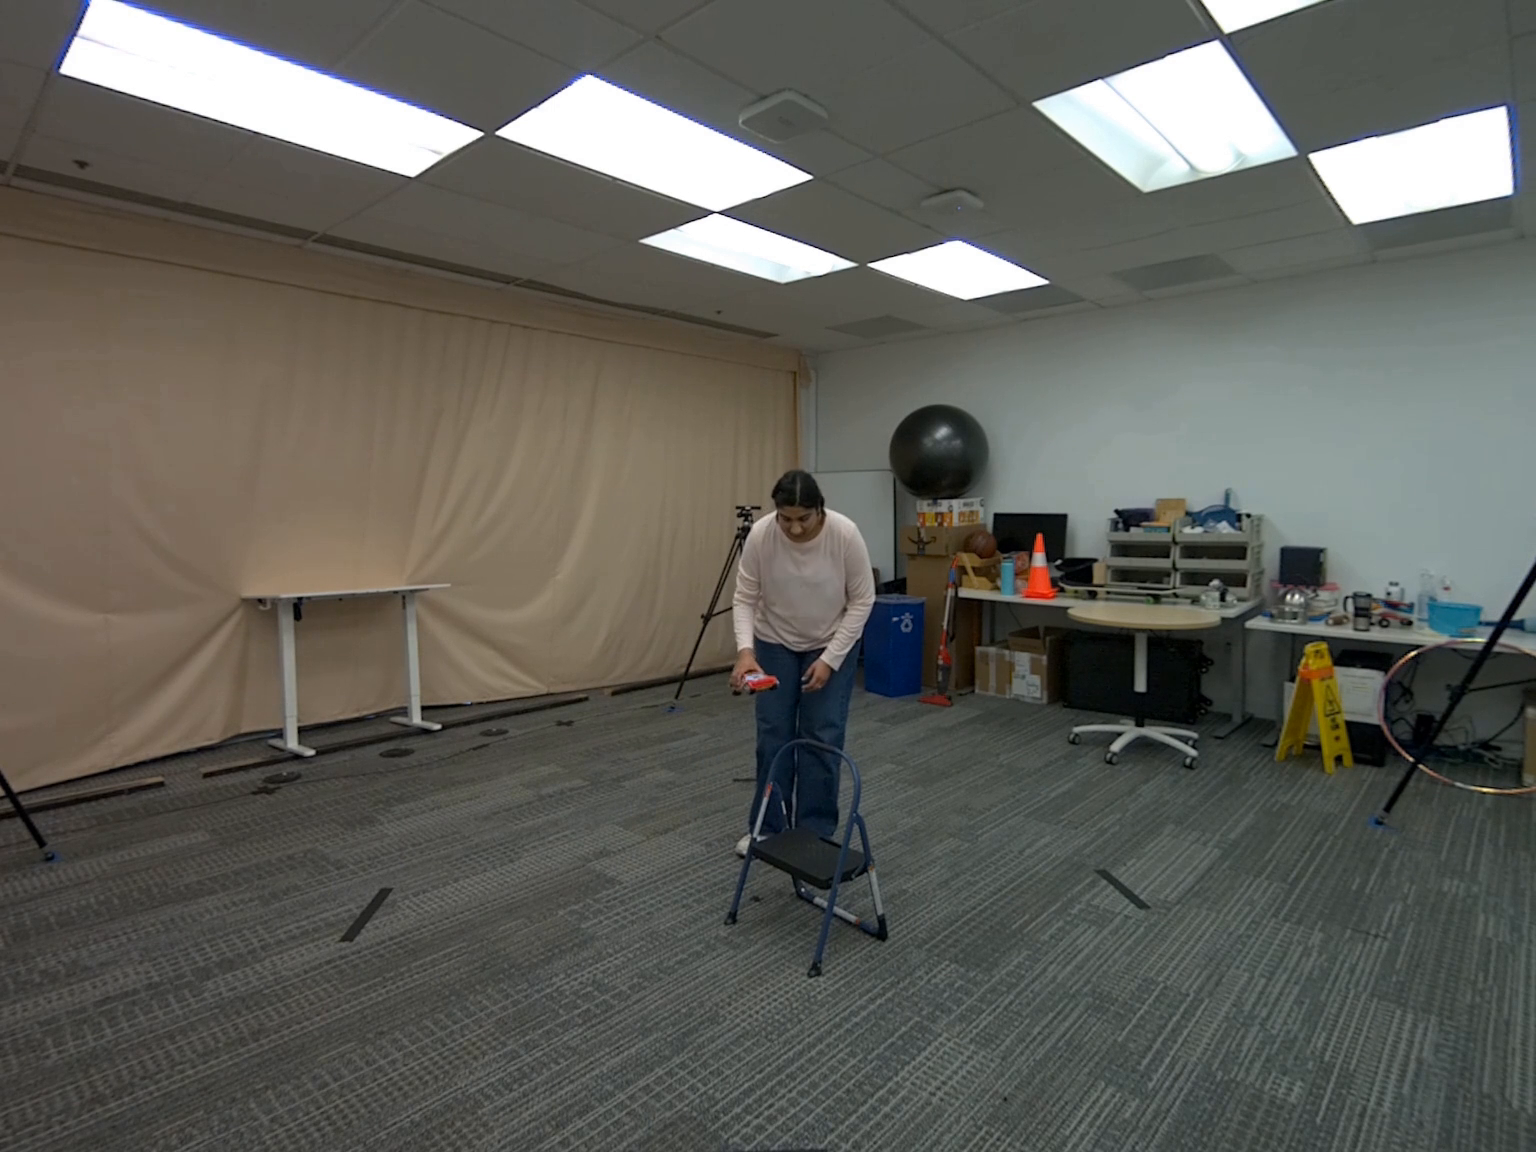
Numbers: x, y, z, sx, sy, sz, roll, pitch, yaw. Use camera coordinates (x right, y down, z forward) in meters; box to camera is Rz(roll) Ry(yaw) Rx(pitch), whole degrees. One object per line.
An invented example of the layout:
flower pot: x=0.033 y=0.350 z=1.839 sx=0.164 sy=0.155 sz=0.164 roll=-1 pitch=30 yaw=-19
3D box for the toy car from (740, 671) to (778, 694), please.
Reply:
toy car: x=-0.062 y=0.405 z=3.083 sx=0.128 sy=0.083 sz=0.259 roll=-9 pitch=3 yaw=-20
